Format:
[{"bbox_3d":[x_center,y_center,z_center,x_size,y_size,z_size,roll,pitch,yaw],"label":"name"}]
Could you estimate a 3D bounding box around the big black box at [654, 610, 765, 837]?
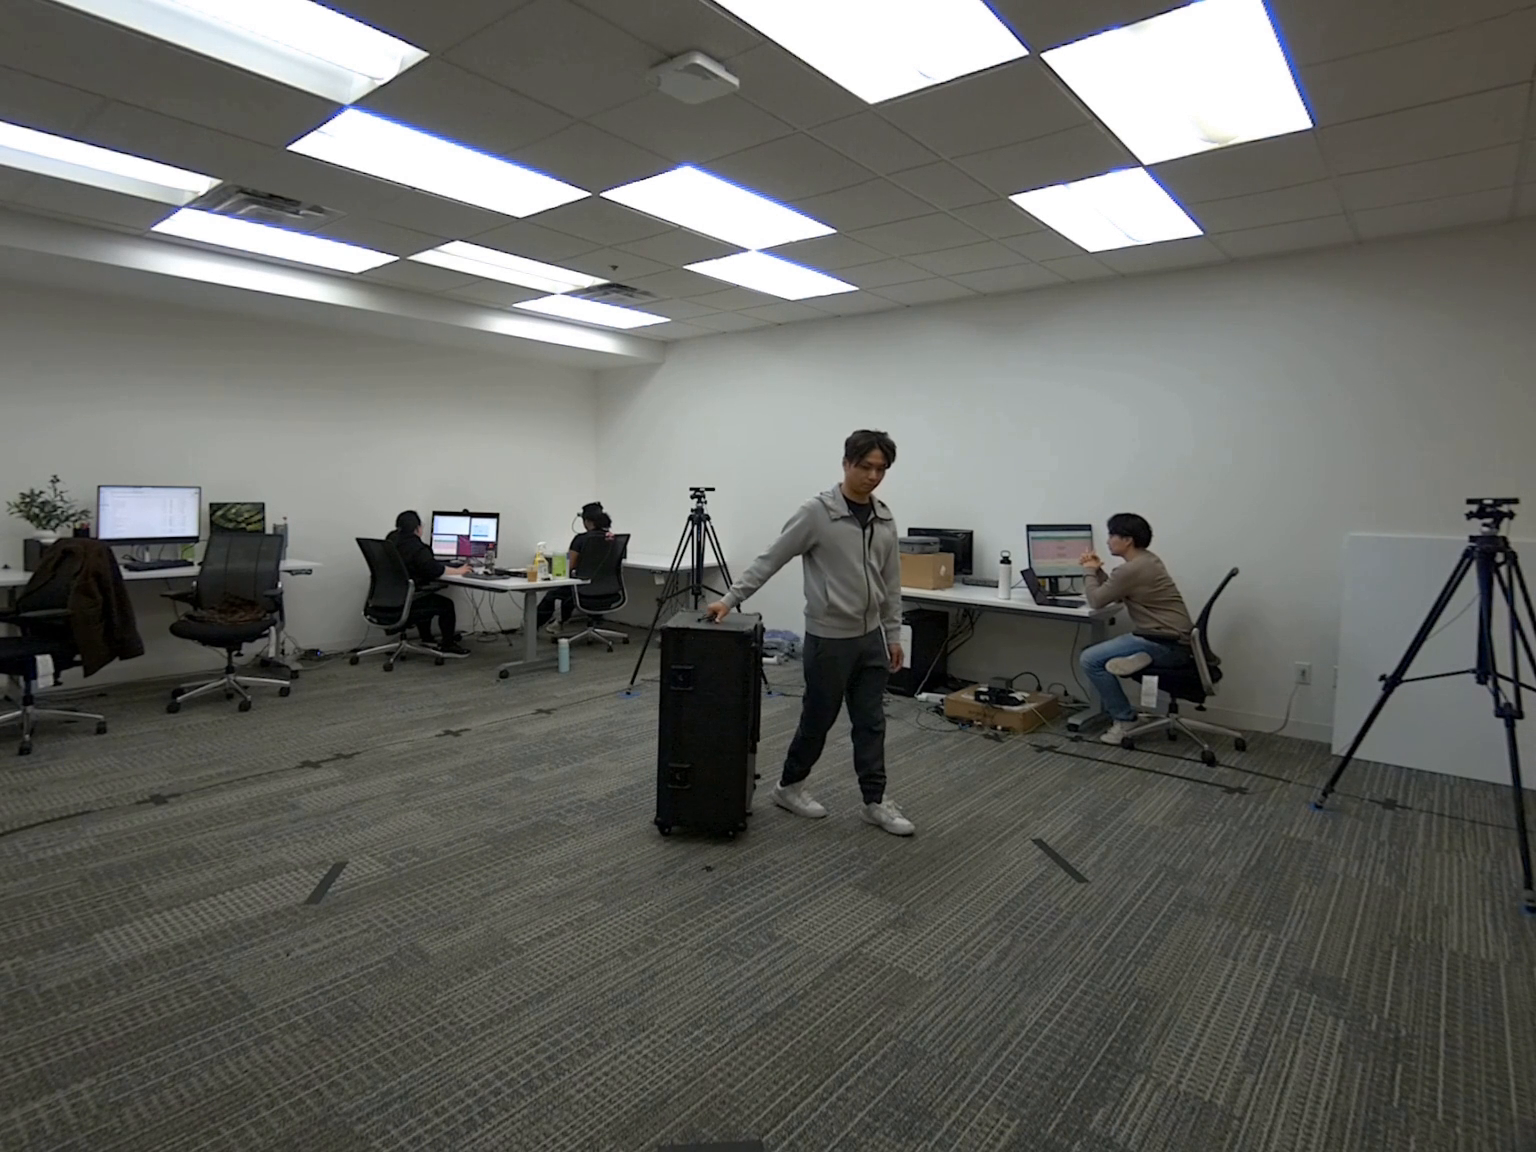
[{"bbox_3d":[-0.238,0.602,3.523,0.399,0.859,0.519,3,3,5],"label":"big black box"}]
